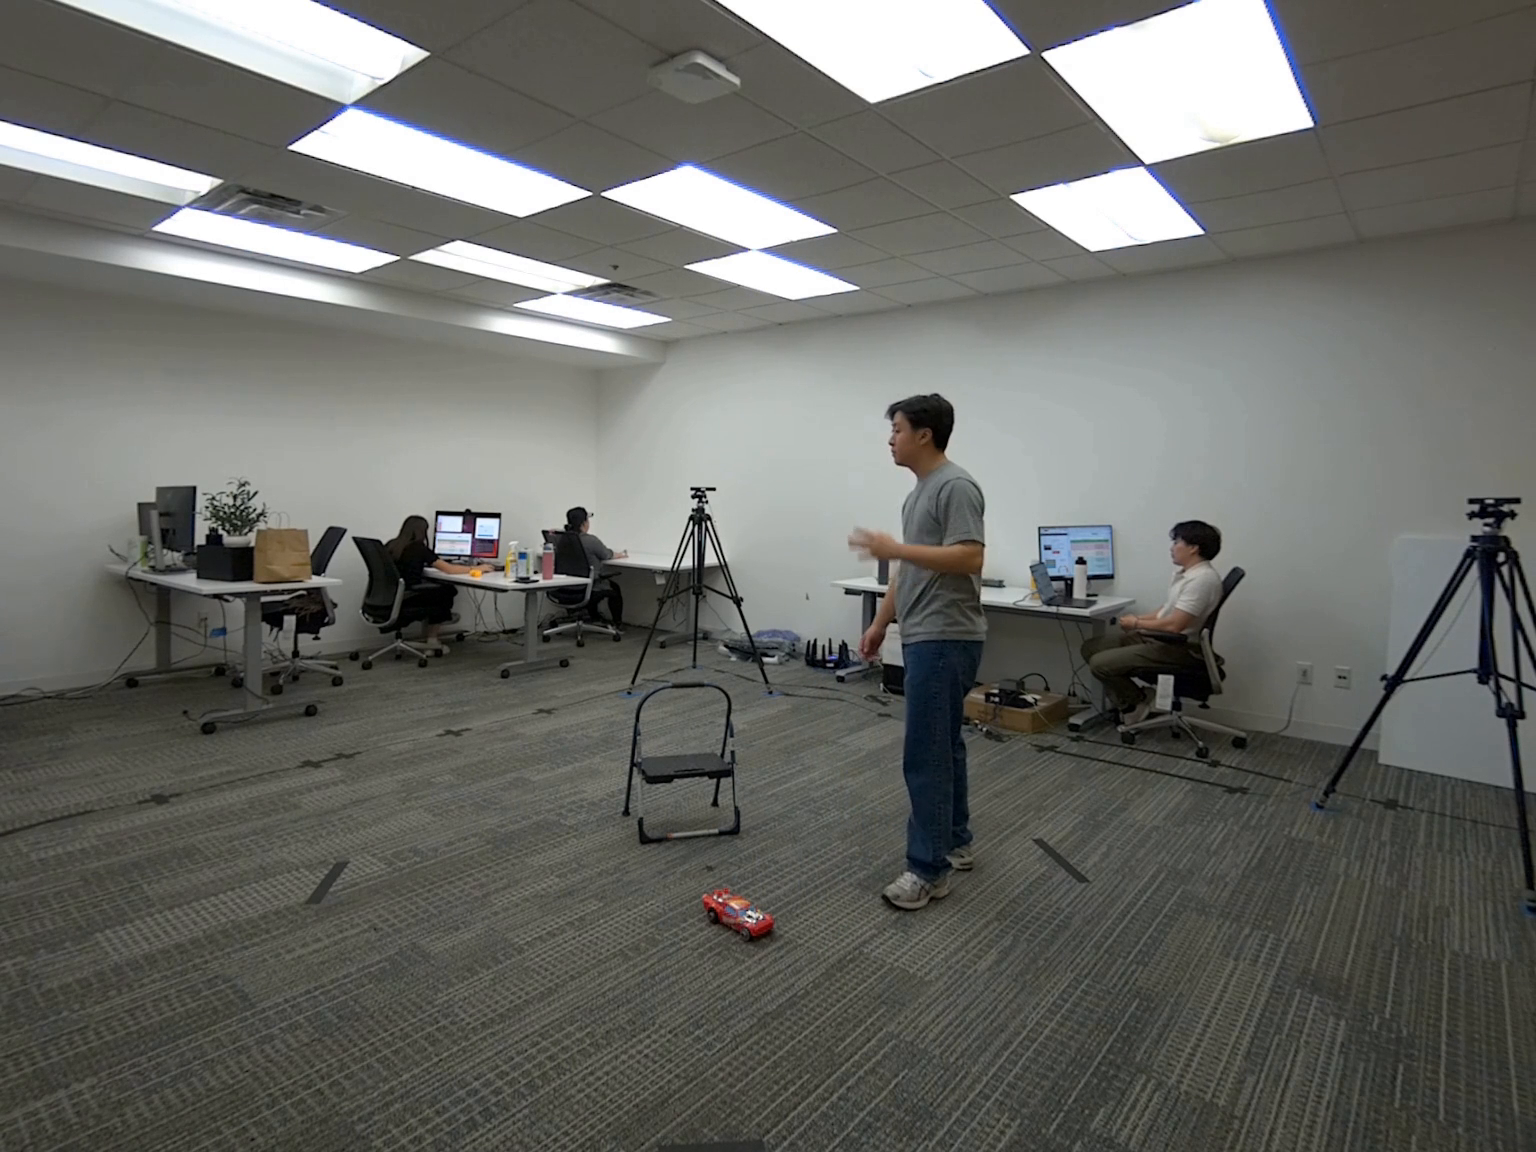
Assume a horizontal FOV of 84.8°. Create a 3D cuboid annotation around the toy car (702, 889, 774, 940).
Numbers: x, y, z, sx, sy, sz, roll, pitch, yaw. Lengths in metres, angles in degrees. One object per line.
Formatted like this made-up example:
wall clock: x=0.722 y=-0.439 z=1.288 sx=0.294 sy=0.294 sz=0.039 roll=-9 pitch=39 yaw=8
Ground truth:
toy car: x=-0.110 y=1.076 z=2.709 sx=0.126 sy=0.082 sz=0.265 roll=-3 pitch=17 yaw=-45
